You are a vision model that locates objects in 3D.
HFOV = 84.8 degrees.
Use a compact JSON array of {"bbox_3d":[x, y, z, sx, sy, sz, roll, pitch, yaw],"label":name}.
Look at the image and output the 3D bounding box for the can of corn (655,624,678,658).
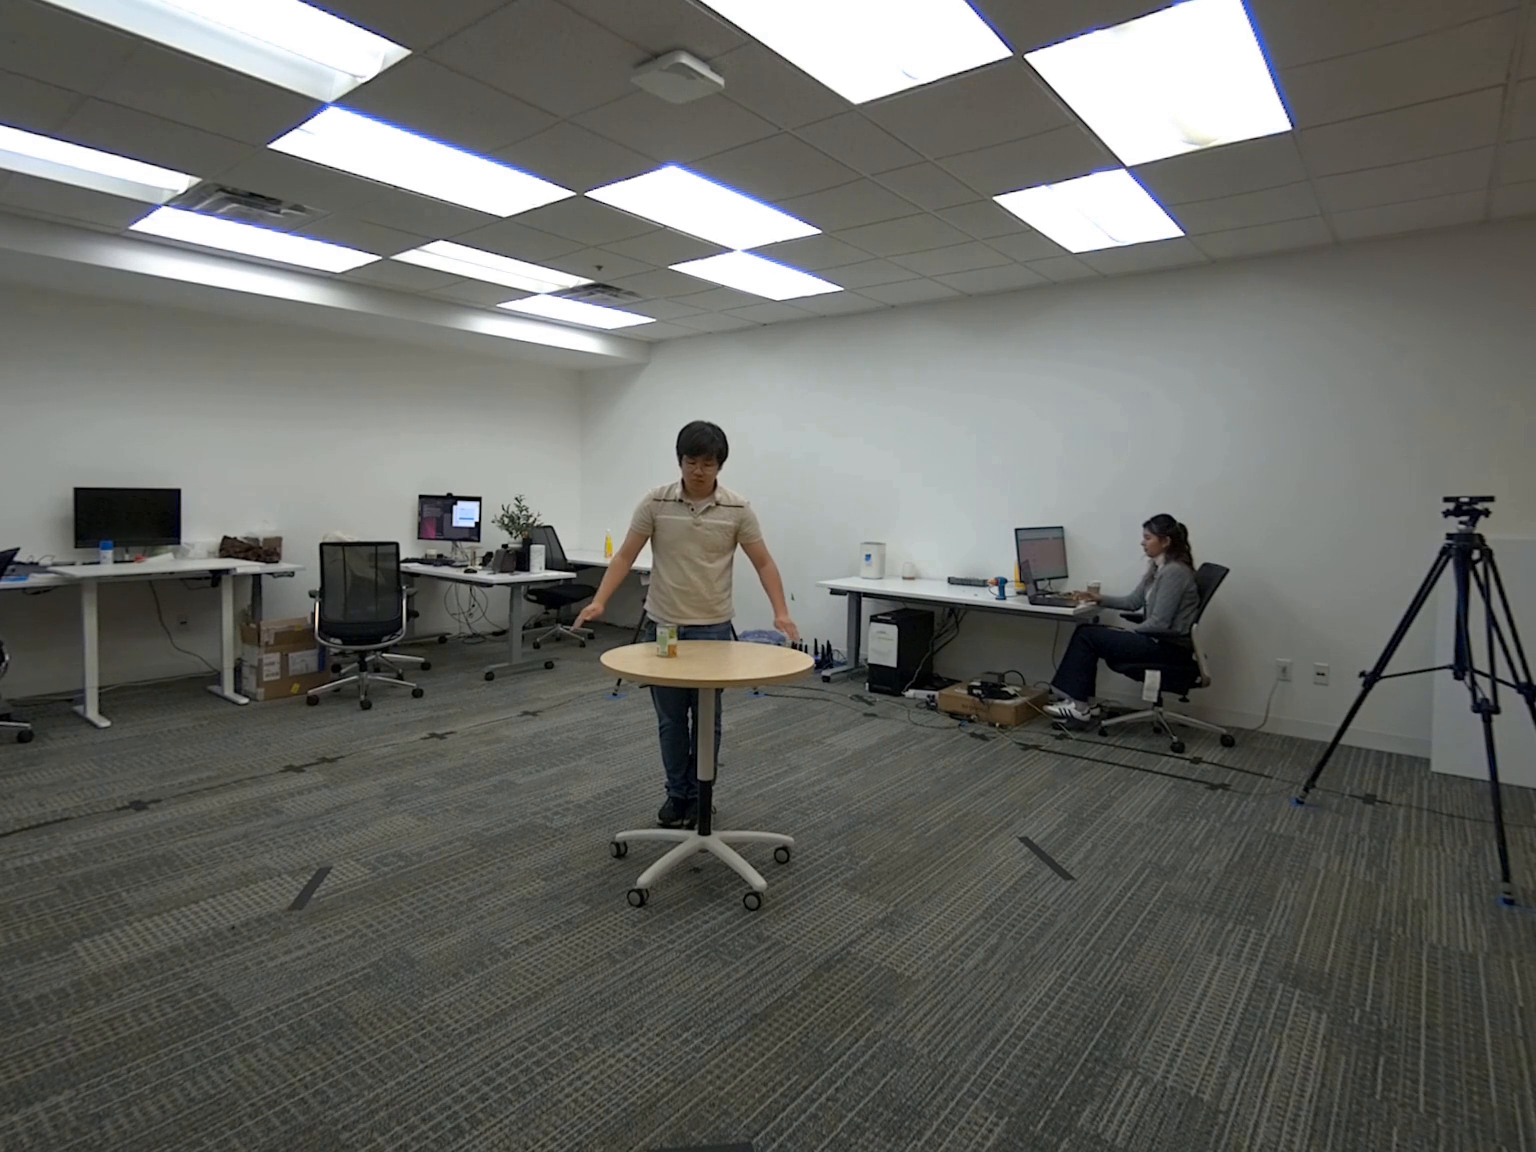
[{"bbox_3d":[-0.384,0.232,3.078,0.074,0.111,0.074,-3,2,-2],"label":"can of corn"}]
